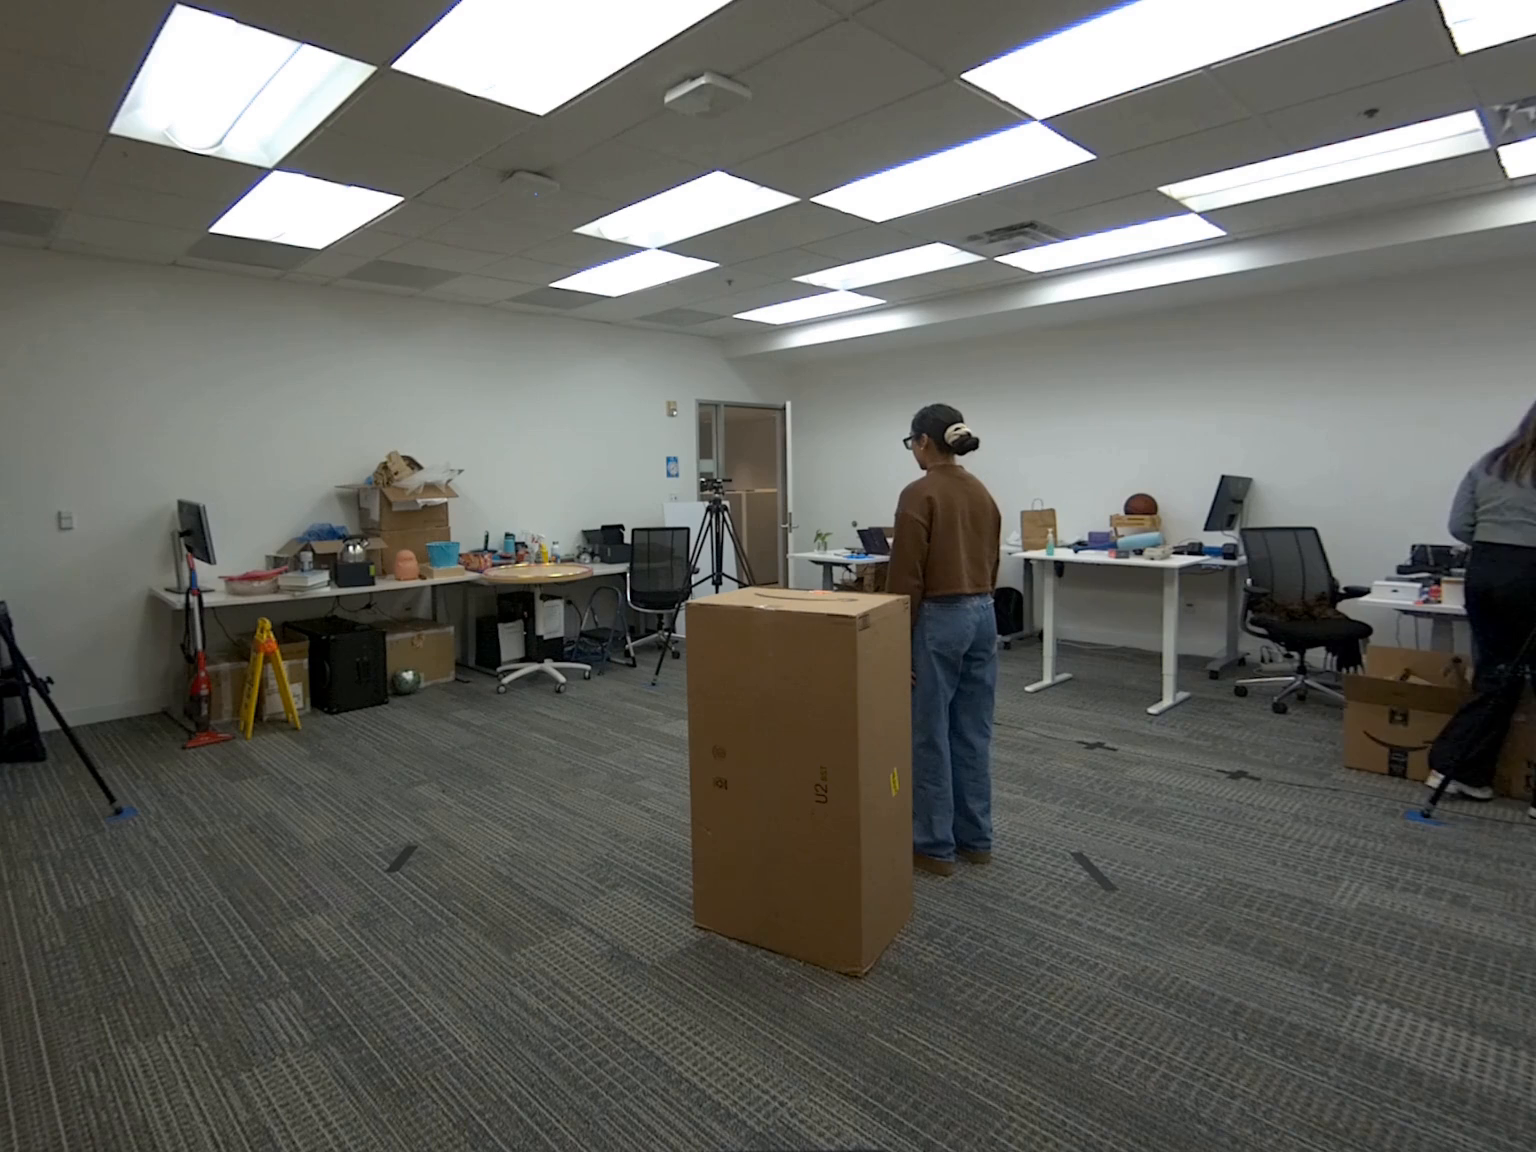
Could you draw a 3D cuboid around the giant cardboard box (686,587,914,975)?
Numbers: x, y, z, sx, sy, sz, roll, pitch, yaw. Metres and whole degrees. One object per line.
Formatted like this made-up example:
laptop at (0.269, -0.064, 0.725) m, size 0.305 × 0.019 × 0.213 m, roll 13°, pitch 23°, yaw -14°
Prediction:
giant cardboard box at (0.108, 0.582, 2.674) m, size 0.593 × 1.023 × 0.416 m, roll 1°, pitch 4°, yaw 31°
